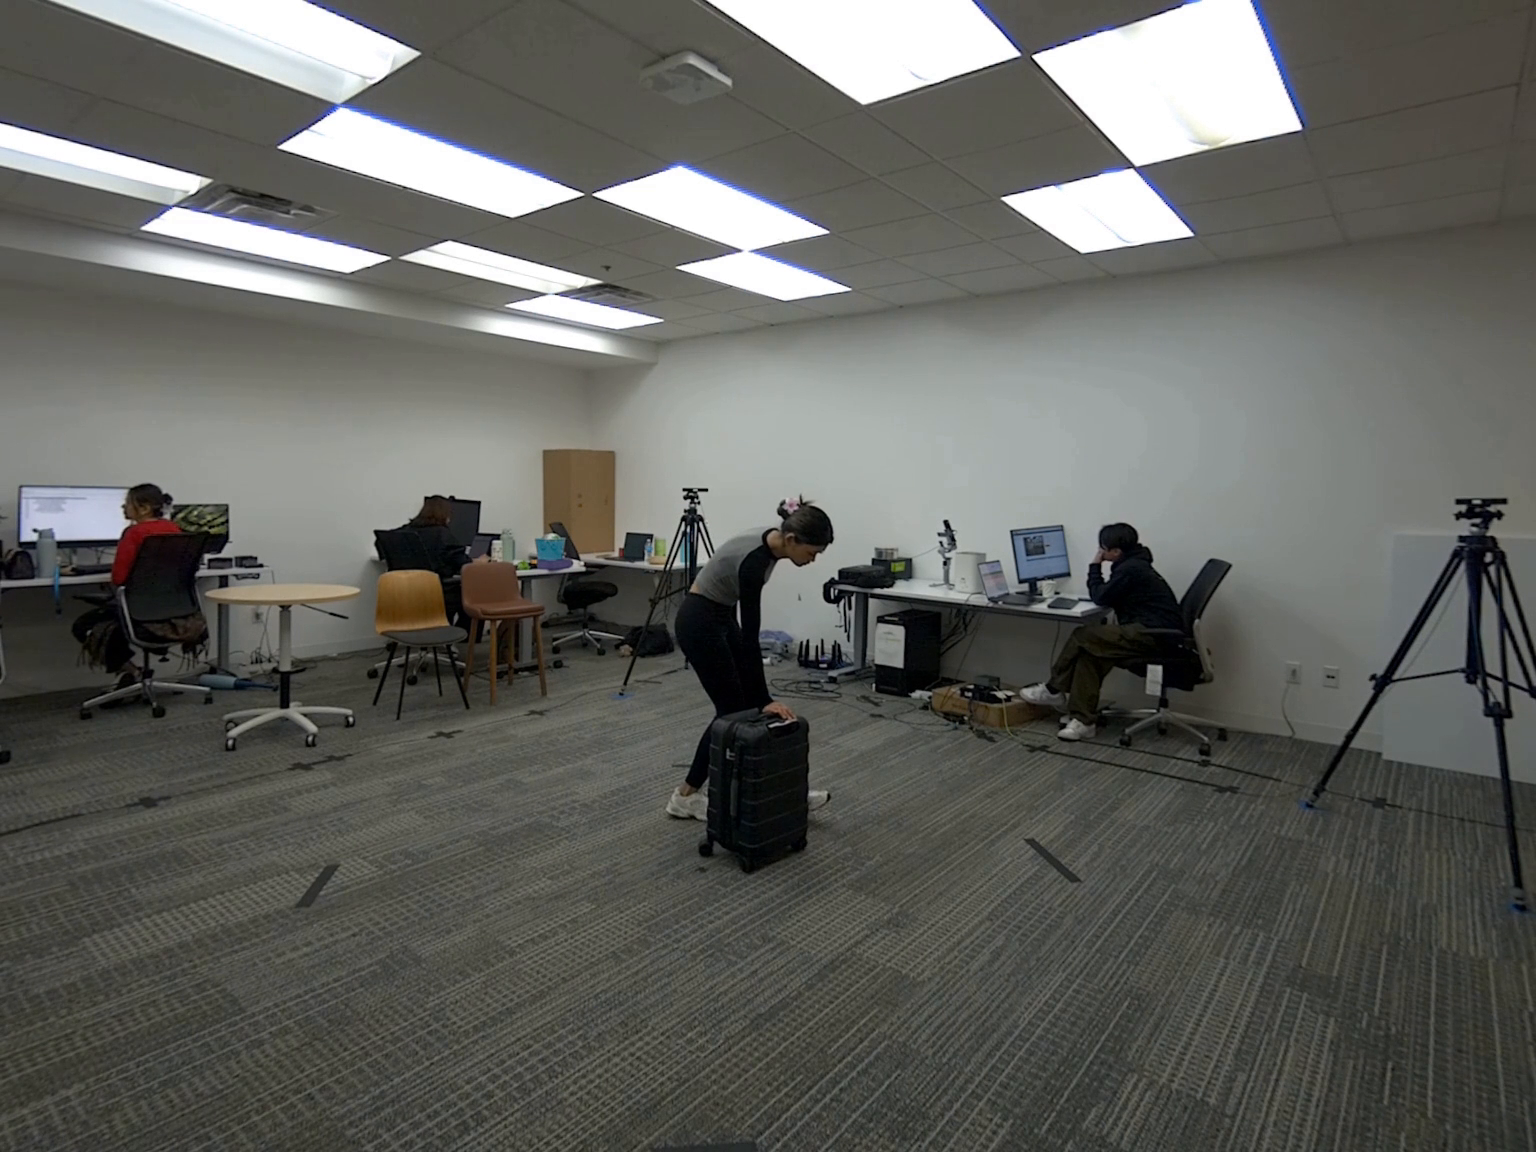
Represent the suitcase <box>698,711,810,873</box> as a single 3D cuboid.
[{"bbox_3d":[-0.042,0.781,3.245,0.257,0.547,0.364,6,6,42],"label":"suitcase"}]
